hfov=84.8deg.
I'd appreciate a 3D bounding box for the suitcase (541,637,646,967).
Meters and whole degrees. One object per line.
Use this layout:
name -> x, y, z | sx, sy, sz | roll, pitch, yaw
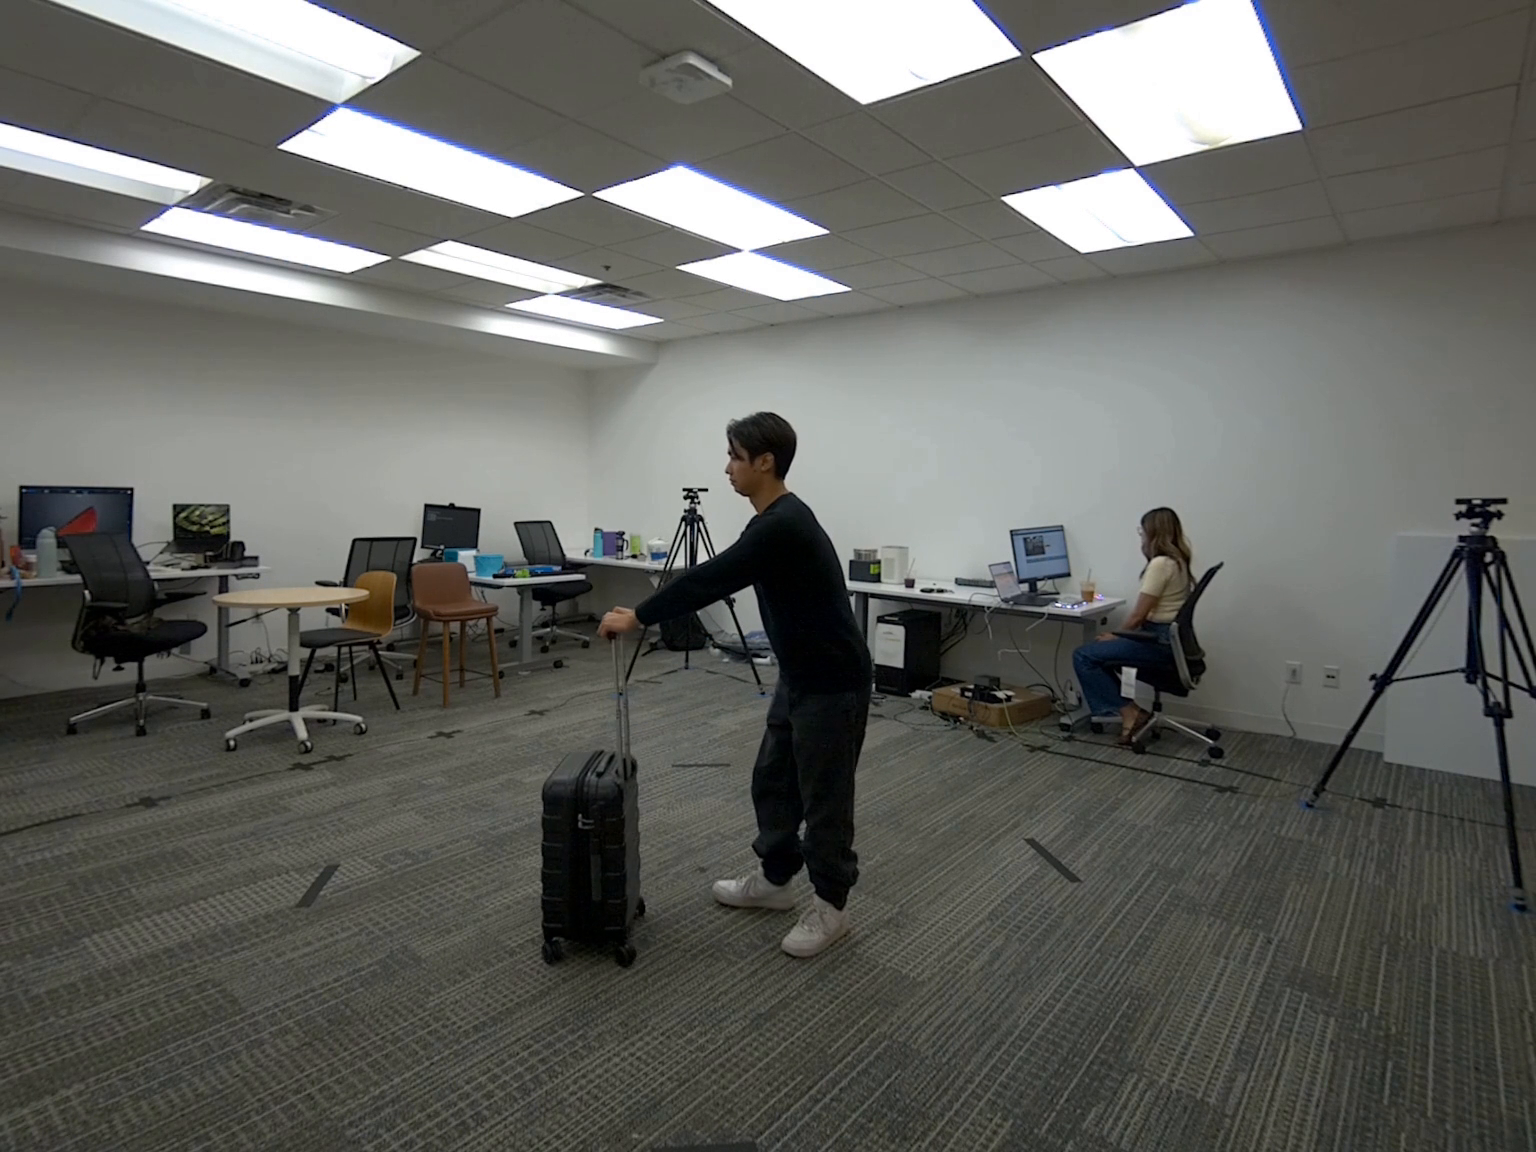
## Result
suitcase -> -0.562, 0.636, 2.628 | 0.257, 0.978, 0.385 | -3, 1, -1
